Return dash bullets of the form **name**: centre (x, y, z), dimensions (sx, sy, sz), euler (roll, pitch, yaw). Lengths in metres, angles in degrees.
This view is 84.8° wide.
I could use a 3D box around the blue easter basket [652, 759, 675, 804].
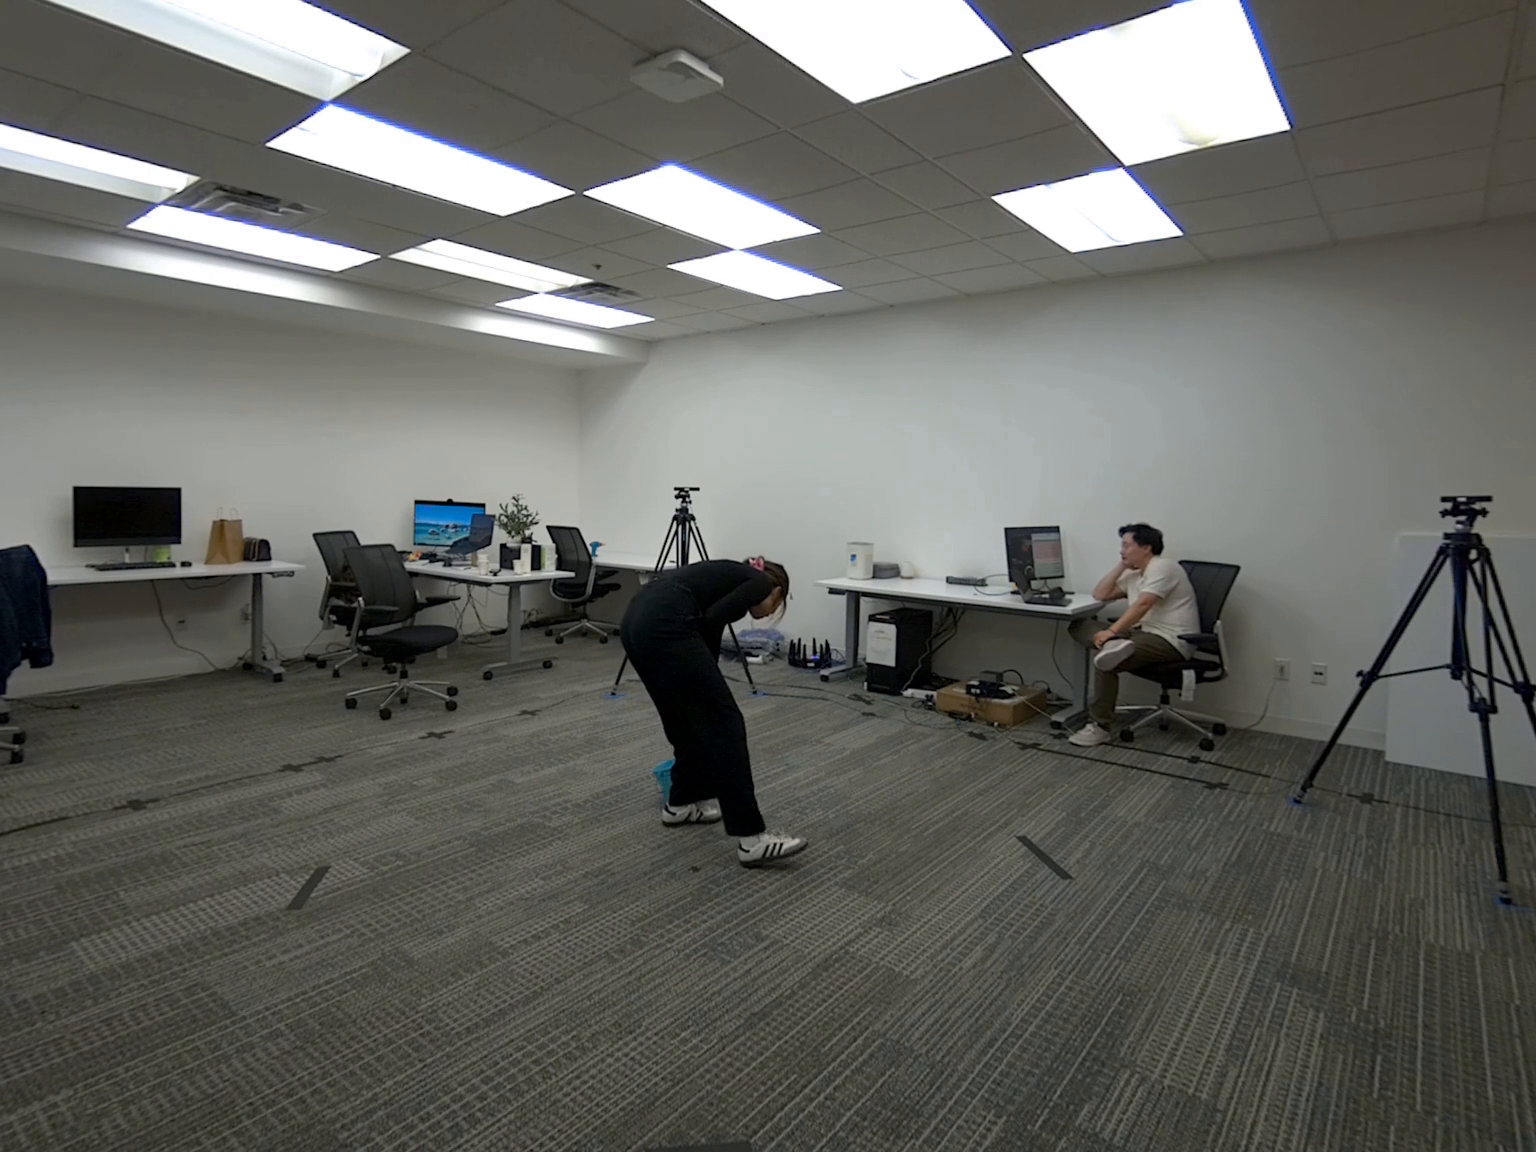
- **blue easter basket**: centre (-0.390, 0.892, 3.775), dimensions (0.243, 0.156, 0.243), euler (-17, 0, -2)
